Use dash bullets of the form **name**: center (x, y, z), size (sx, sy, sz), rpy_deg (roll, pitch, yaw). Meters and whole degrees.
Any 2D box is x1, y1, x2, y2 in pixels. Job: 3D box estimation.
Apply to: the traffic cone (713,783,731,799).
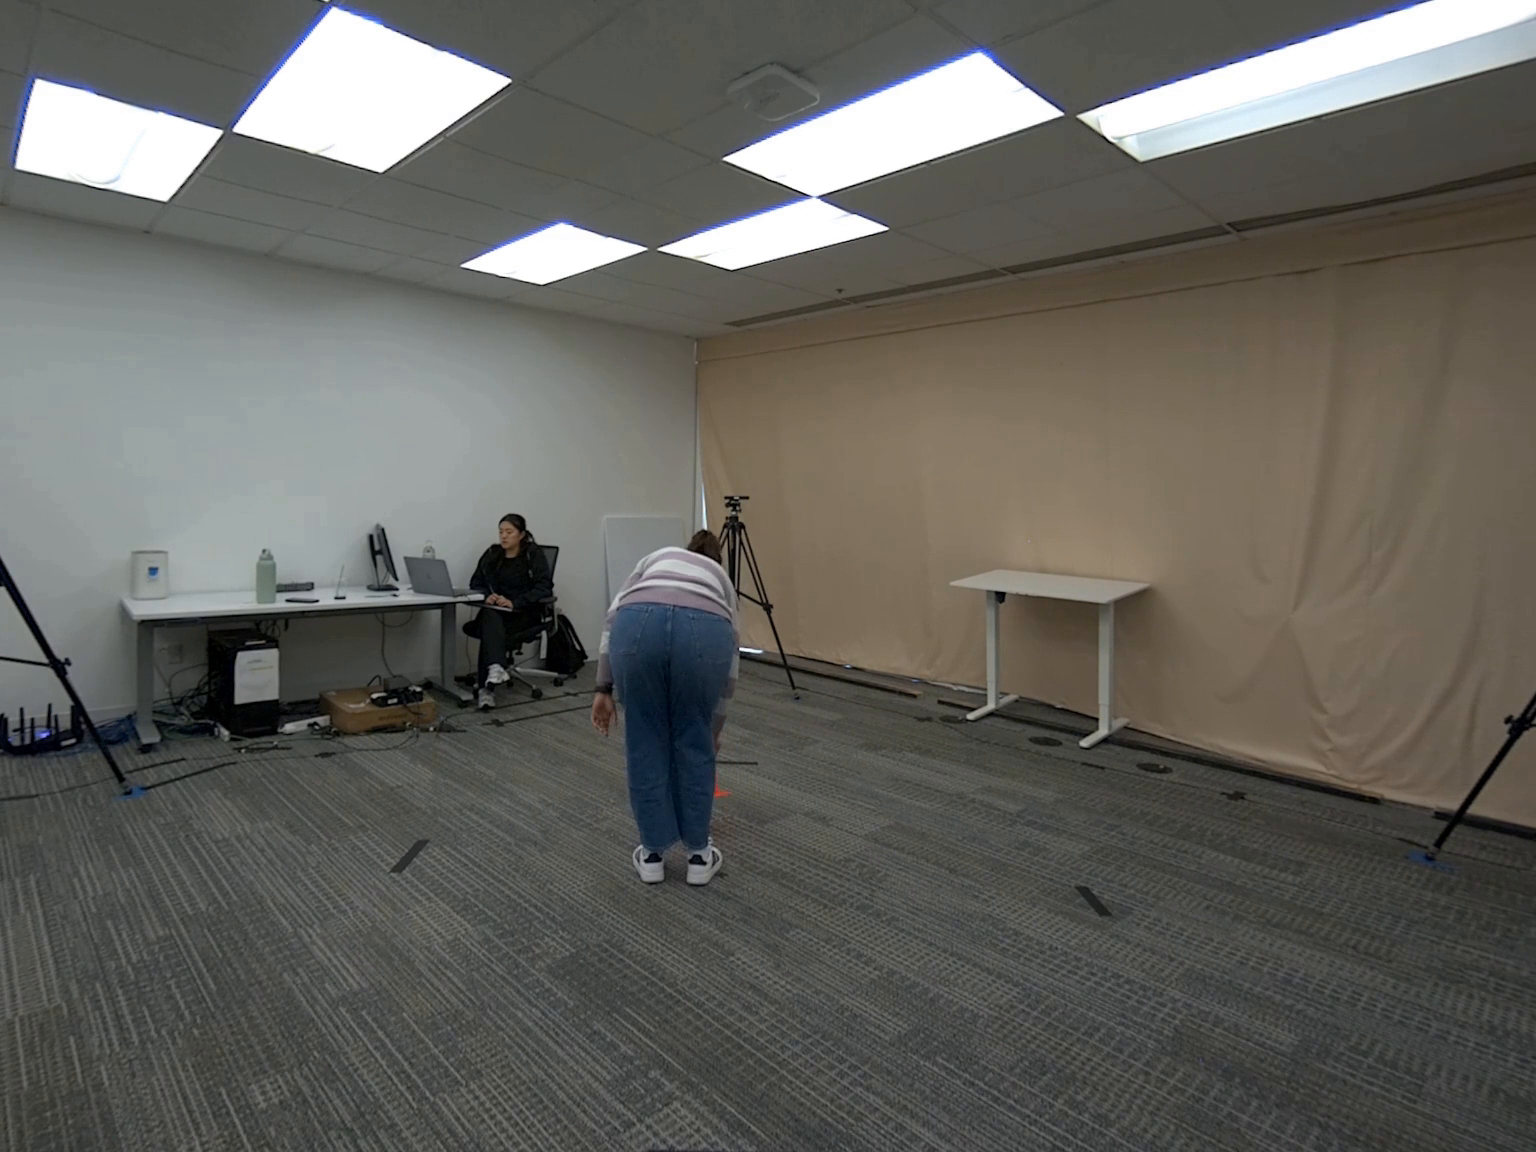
- **traffic cone**: center (-0.281, 0.724, 3.556), size (0.209, 0.385, 0.198), rpy_deg (-2, -8, 36)
